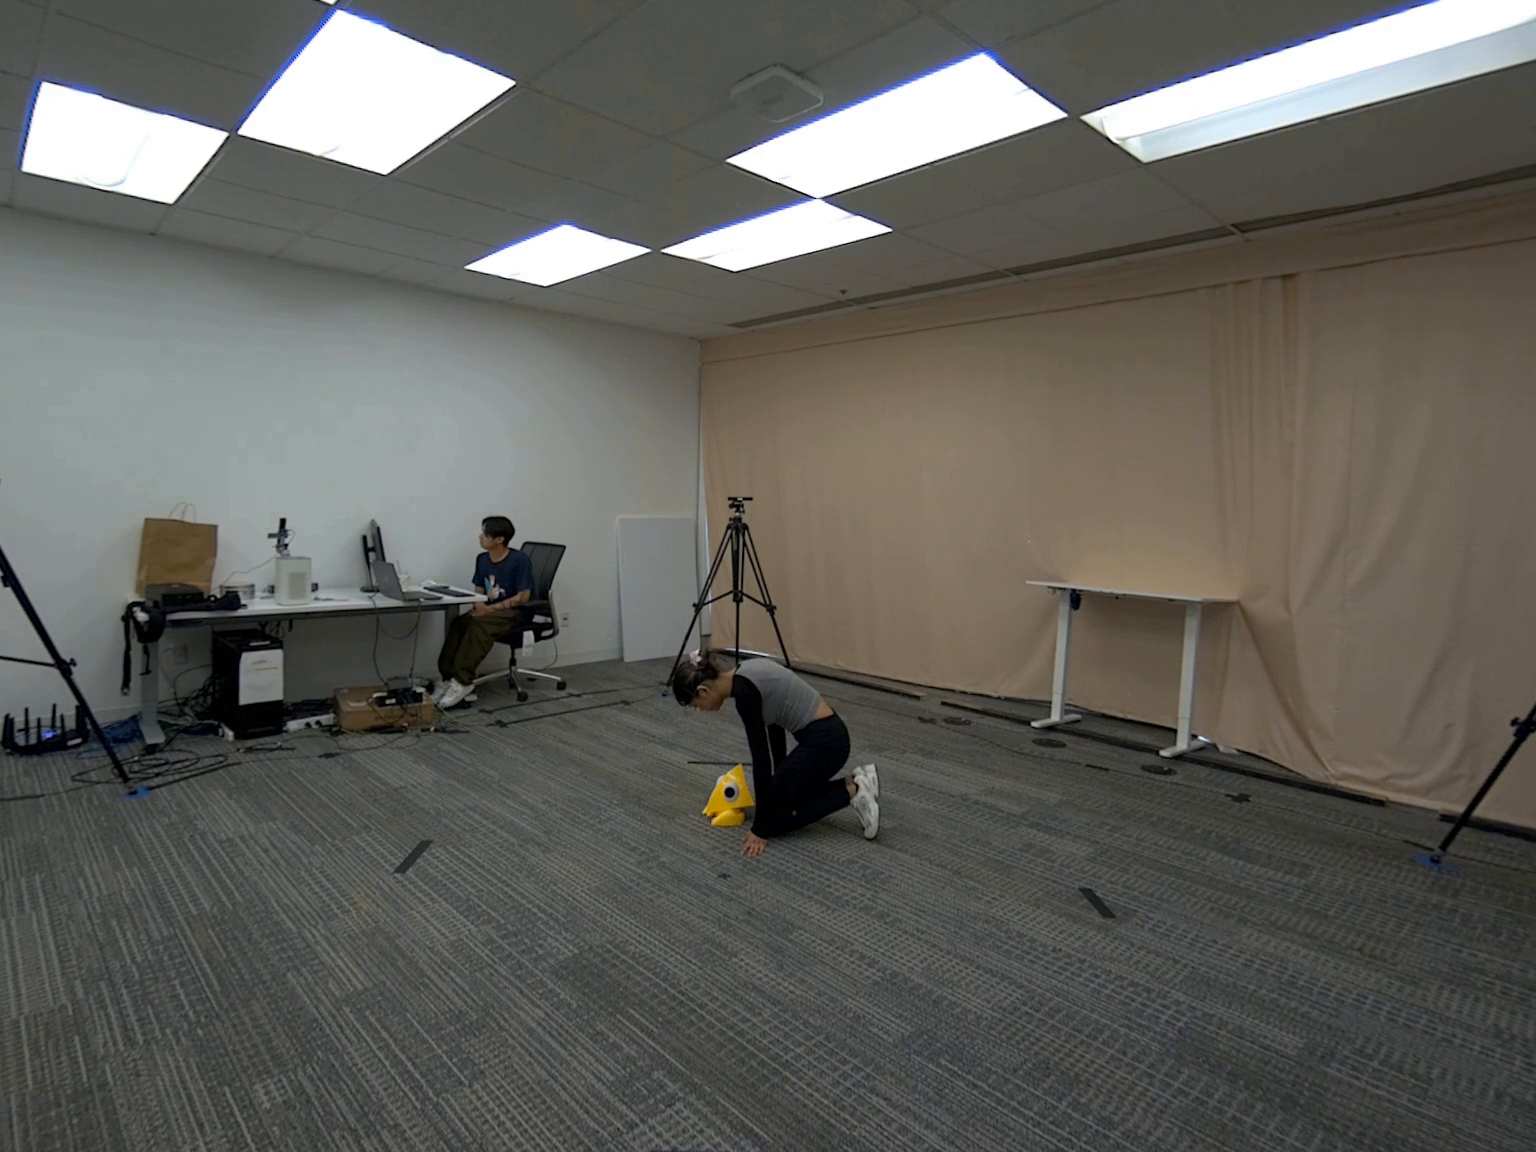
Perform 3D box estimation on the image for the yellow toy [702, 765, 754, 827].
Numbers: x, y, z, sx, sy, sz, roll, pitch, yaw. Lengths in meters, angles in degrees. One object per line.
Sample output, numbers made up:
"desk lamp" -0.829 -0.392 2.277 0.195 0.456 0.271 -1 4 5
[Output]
"yellow toy" -0.182 0.937 3.682 0.190 0.230 0.208 1 4 -21
